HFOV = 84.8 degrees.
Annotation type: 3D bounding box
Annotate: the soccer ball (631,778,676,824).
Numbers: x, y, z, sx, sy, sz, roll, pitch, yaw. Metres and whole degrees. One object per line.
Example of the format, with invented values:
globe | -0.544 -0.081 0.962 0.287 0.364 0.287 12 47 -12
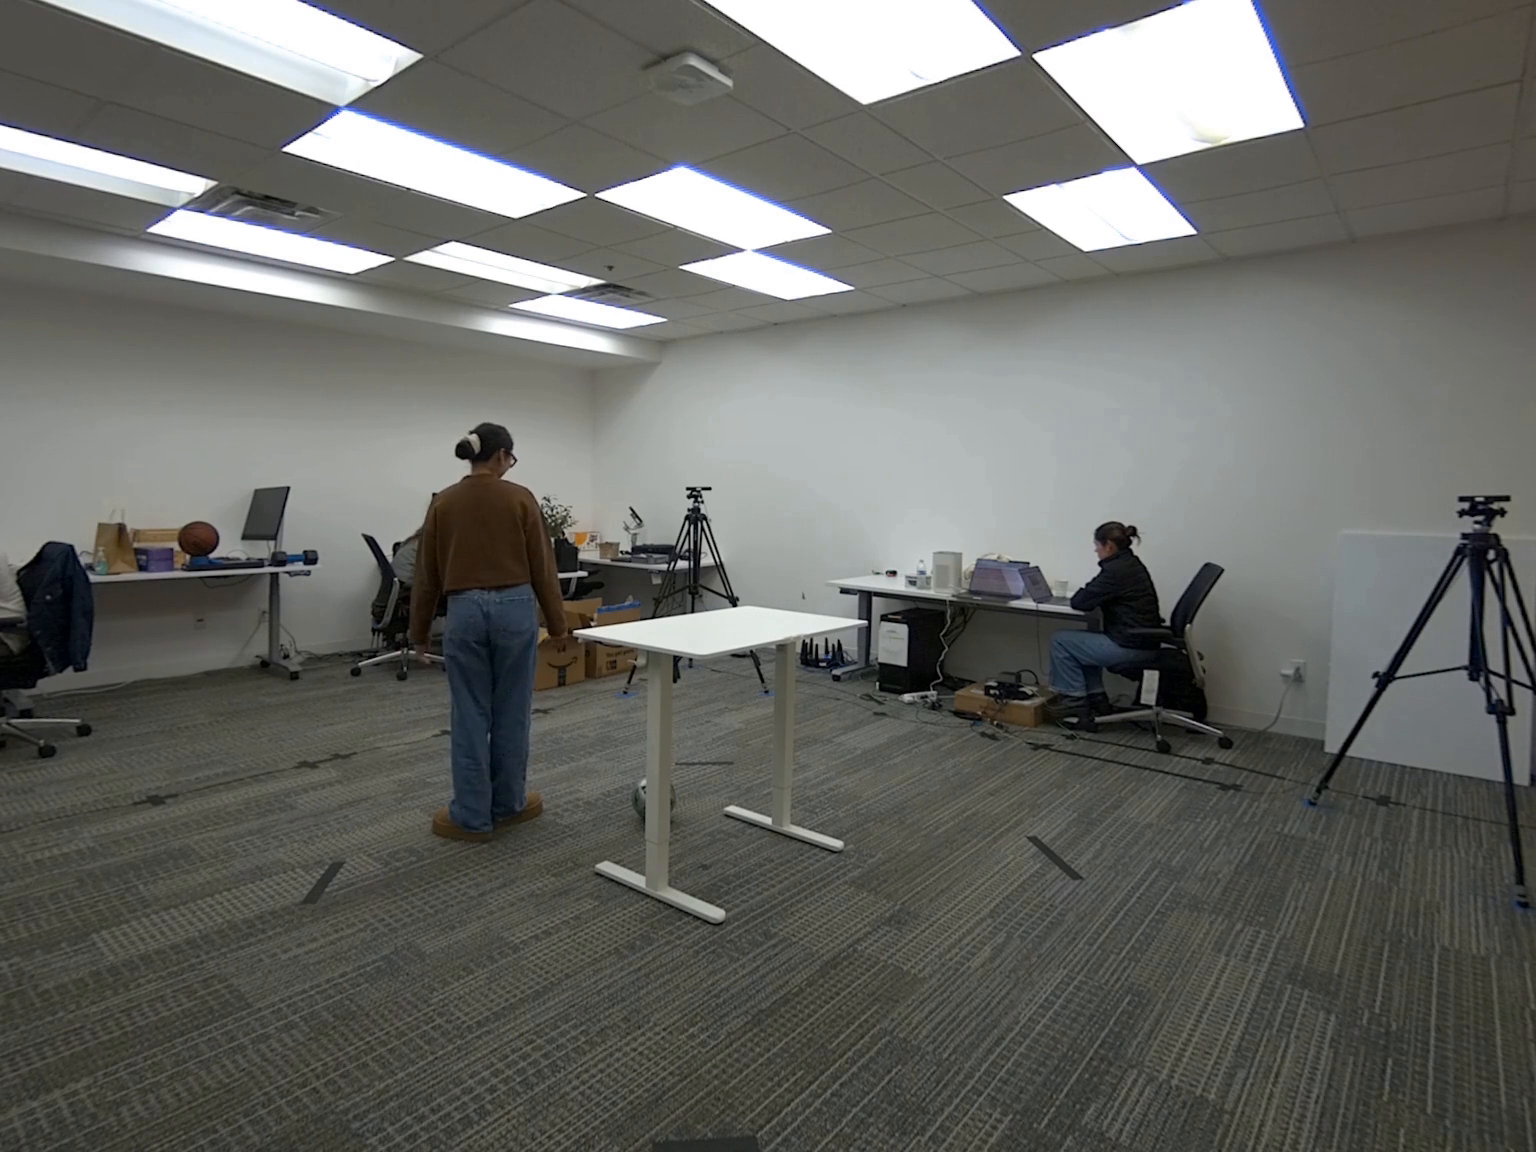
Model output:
soccer ball | -0.495 0.929 3.560 0.187 0.187 0.188 1 4 -2
